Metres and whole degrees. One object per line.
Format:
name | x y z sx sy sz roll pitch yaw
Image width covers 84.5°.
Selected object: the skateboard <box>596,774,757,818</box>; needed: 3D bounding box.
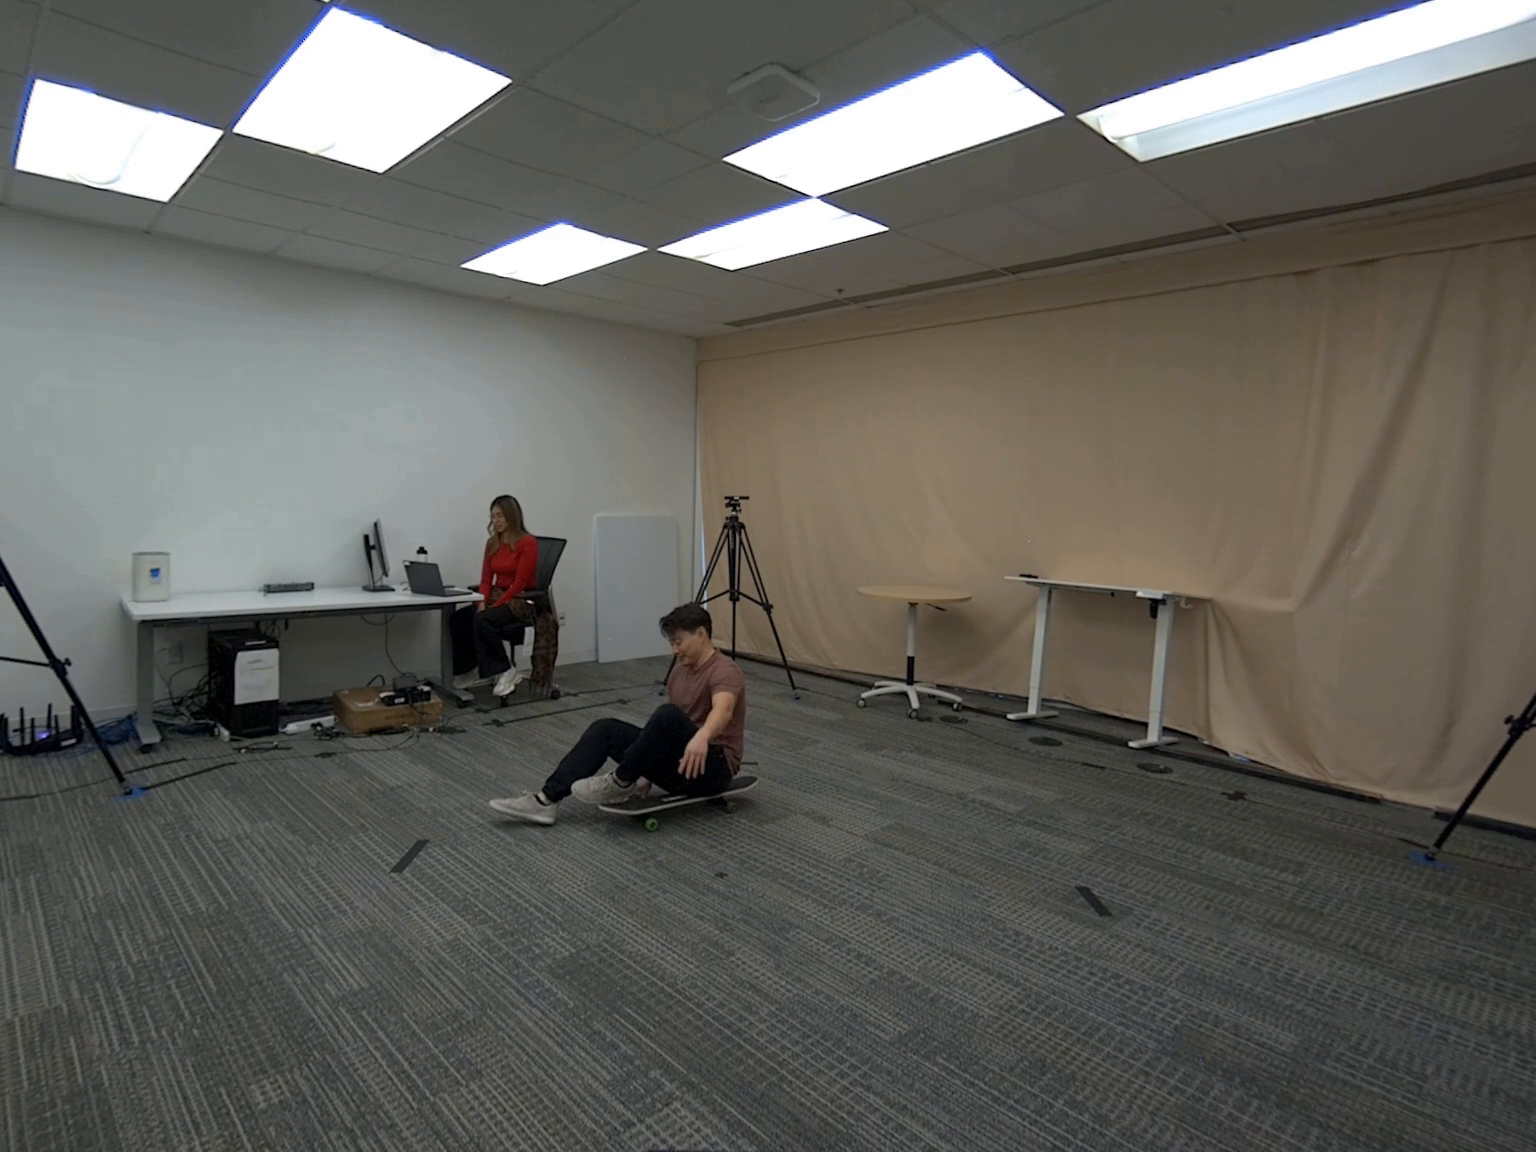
skateboard | -0.399 1.004 3.682 0.768 0.110 0.197 -1 -2 -37
